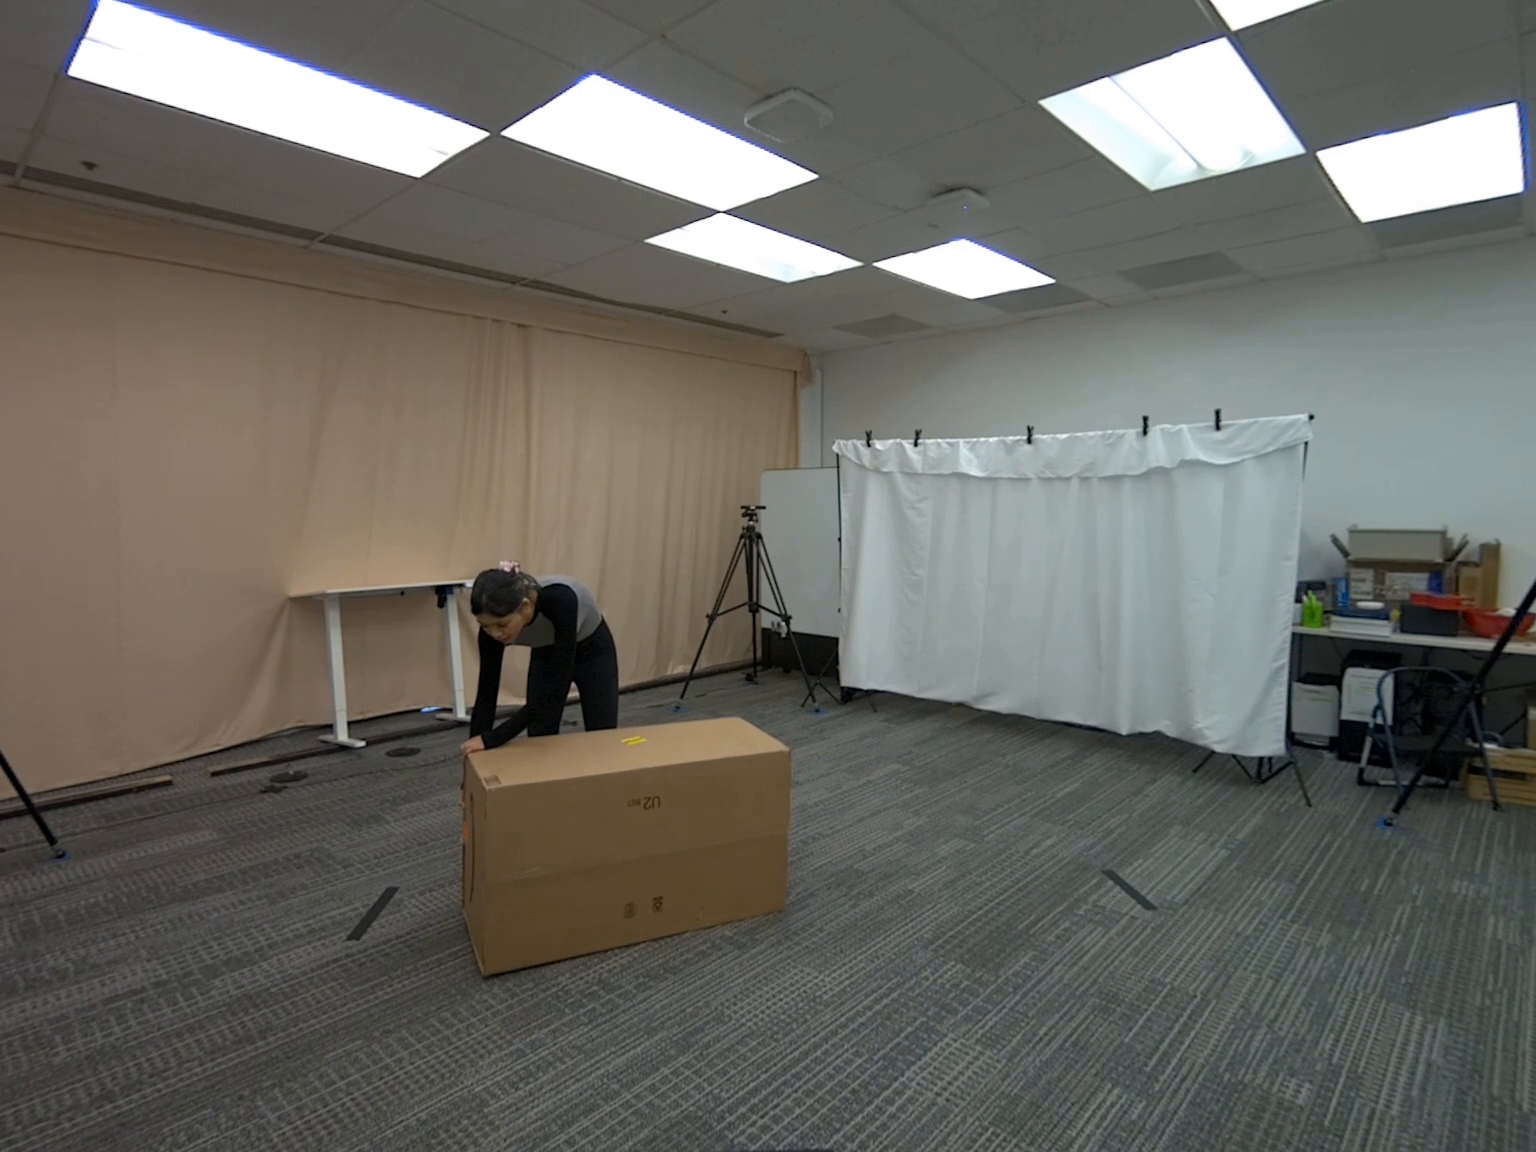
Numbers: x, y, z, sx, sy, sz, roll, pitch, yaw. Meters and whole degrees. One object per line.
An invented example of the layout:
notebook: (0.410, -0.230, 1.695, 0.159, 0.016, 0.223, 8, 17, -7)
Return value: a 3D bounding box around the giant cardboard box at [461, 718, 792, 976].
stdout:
giant cardboard box: (-0.468, 0.857, 2.848, 1.002, 0.582, 0.459, -1, 5, -26)
